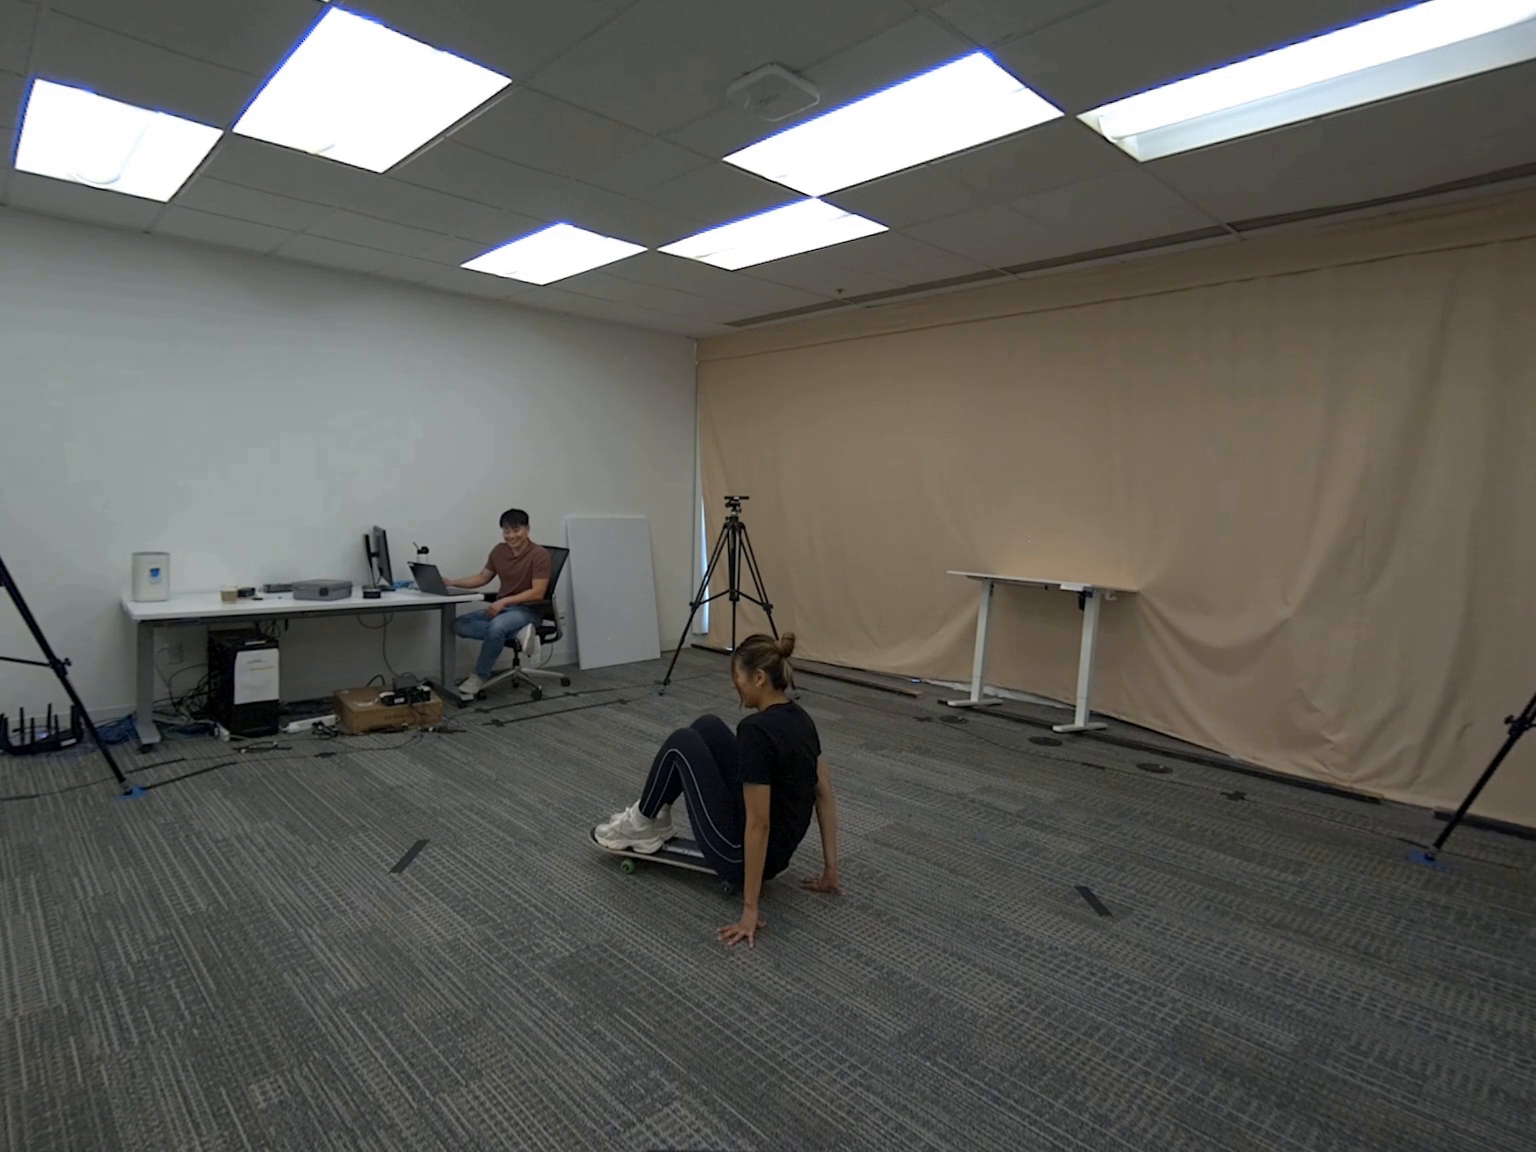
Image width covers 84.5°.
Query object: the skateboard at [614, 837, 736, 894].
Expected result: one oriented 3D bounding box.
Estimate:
[{"bbox_3d":[-0.306,1.049,3.092,0.800,0.110,0.191,5,7,23],"label":"skateboard"}]
